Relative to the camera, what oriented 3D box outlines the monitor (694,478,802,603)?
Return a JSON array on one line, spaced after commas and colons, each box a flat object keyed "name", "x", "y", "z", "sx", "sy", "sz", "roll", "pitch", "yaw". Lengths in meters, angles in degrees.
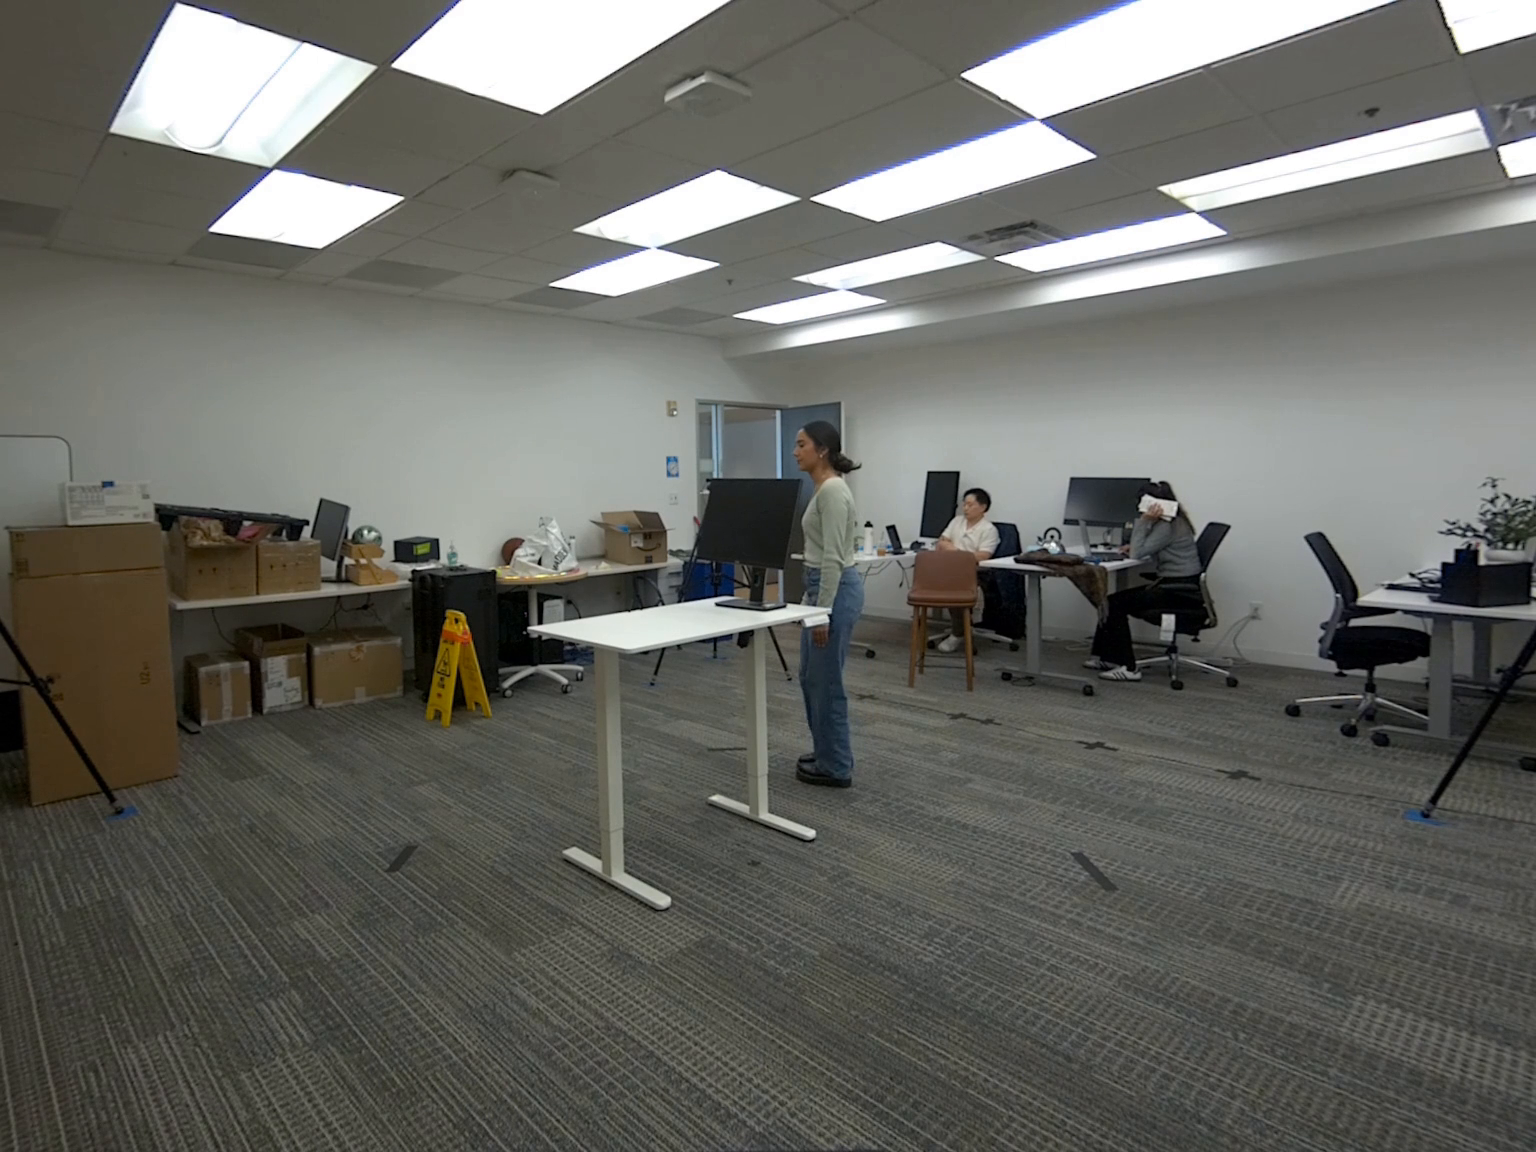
[{"name": "monitor", "x": -0.063, "y": -0.130, "z": 3.445, "sx": 0.182, "sy": 0.521, "sz": 0.556, "roll": -2, "pitch": 5, "yaw": -44}]
